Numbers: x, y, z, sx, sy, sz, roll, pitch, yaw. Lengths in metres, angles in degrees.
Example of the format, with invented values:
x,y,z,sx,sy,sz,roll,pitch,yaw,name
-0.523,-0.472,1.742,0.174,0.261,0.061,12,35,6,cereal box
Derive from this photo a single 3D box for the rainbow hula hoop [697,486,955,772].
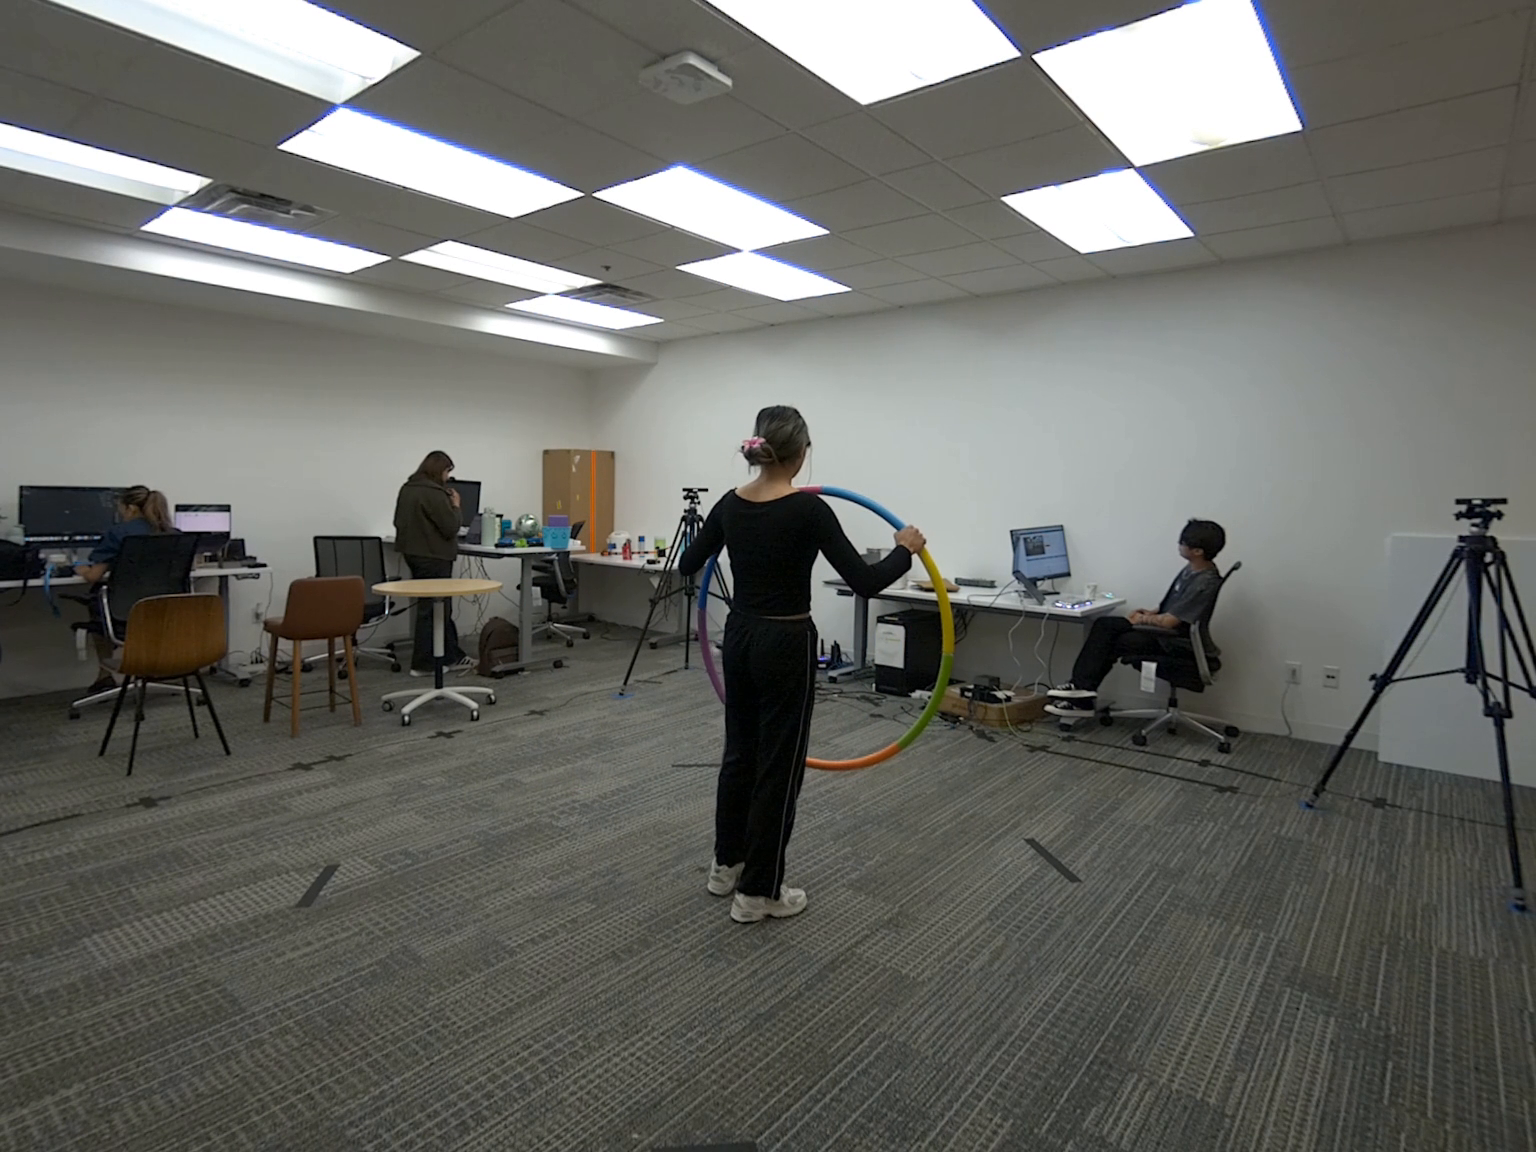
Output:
x,y,z,sx,sy,sz,roll,pitch,yaw,name
0.144,0.180,2.956,1.008,0.974,0.034,3,6,32,rainbow hula hoop
